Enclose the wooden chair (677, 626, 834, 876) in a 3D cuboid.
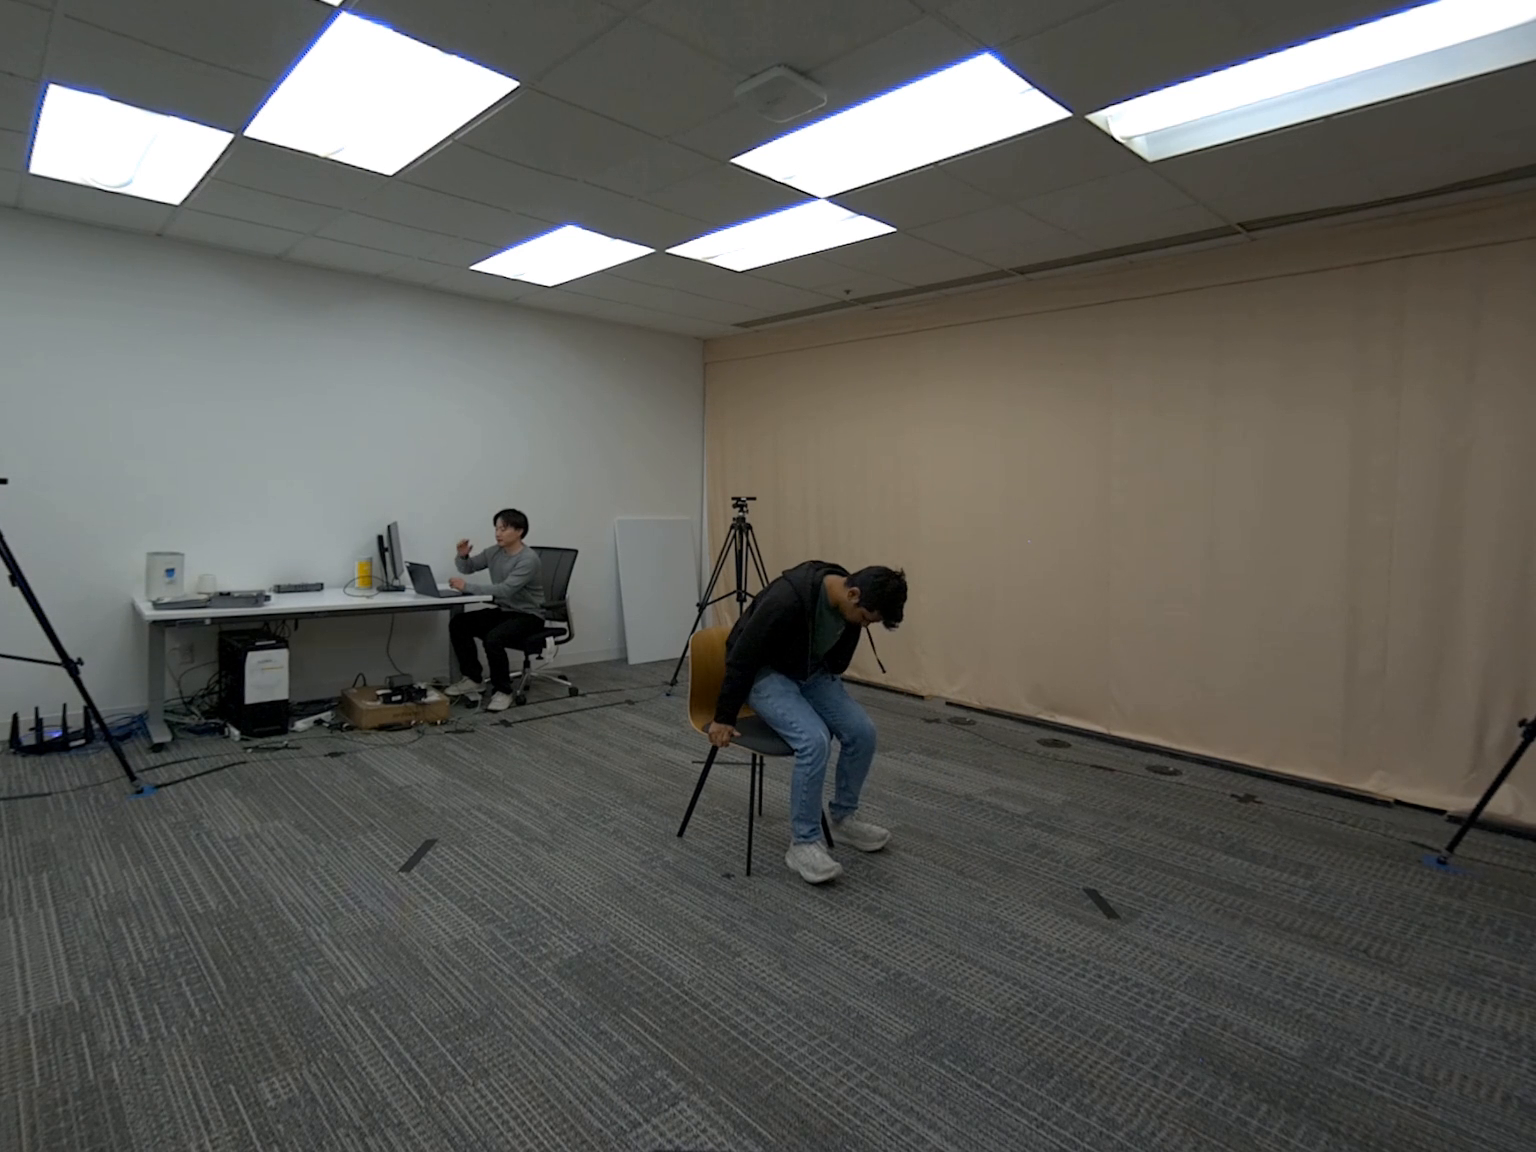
[{"bbox_3d":[-0.047,0.655,3.371,0.467,0.877,0.535,0,0,-40],"label":"wooden chair"}]
